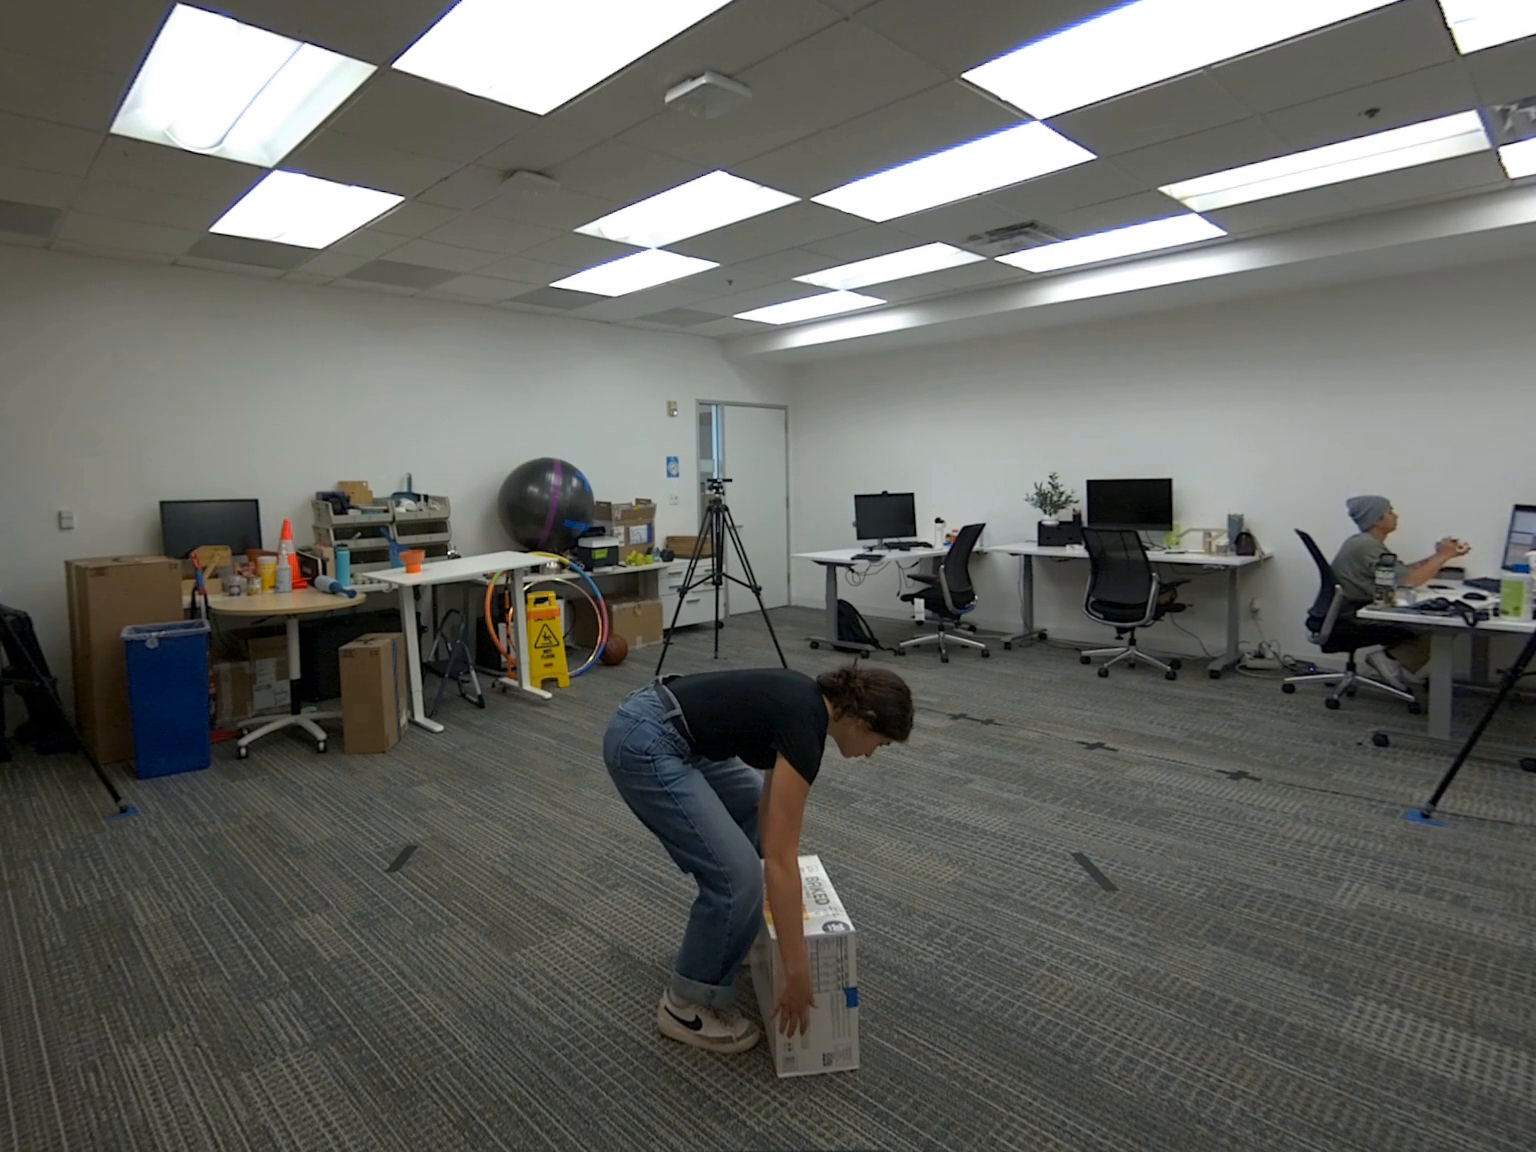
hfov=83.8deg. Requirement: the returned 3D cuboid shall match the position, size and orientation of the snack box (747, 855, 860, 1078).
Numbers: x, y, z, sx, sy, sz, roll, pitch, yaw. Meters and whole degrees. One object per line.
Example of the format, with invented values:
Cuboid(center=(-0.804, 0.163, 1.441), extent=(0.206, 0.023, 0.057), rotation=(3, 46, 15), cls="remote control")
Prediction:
Cuboid(center=(0.087, 0.980, 2.196), extent=(0.204, 0.339, 0.410), rotation=(-4, 6, -9), cls="snack box")
